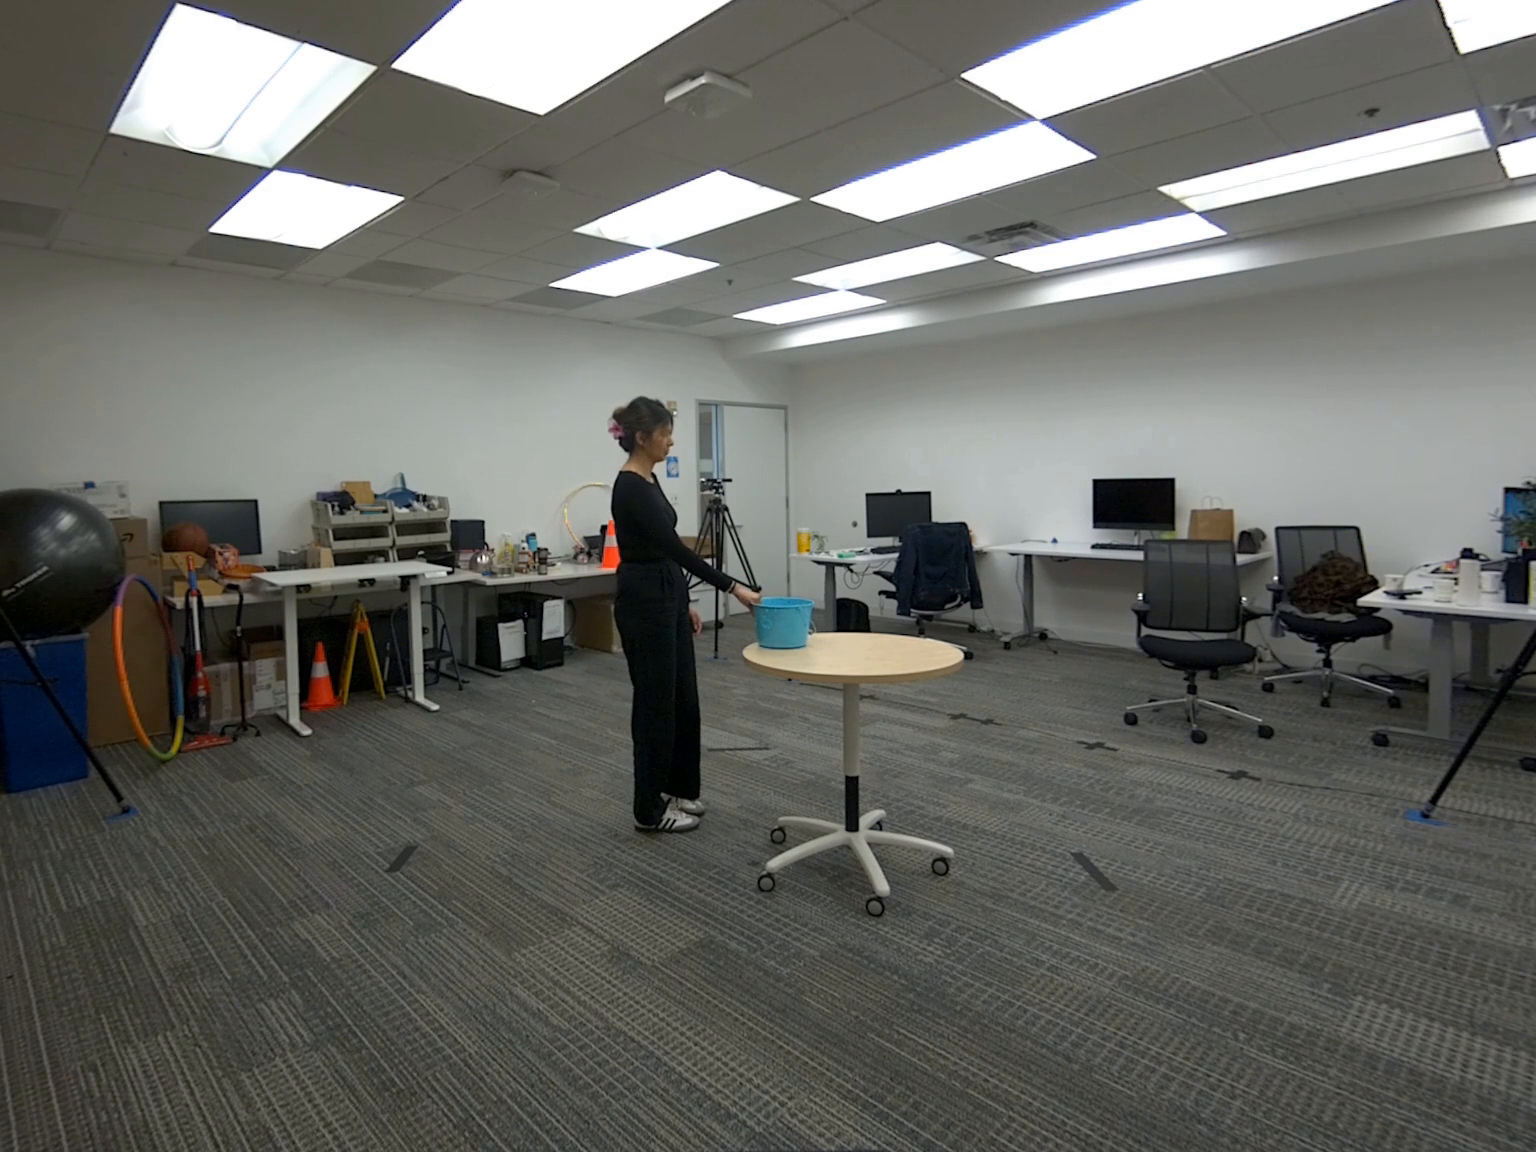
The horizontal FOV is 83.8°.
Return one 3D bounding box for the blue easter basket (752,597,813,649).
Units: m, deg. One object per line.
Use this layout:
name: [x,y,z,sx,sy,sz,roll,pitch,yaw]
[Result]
blue easter basket: [0.056,0.170,3.135,0.243,0.155,0.245,-2,6,-2]
